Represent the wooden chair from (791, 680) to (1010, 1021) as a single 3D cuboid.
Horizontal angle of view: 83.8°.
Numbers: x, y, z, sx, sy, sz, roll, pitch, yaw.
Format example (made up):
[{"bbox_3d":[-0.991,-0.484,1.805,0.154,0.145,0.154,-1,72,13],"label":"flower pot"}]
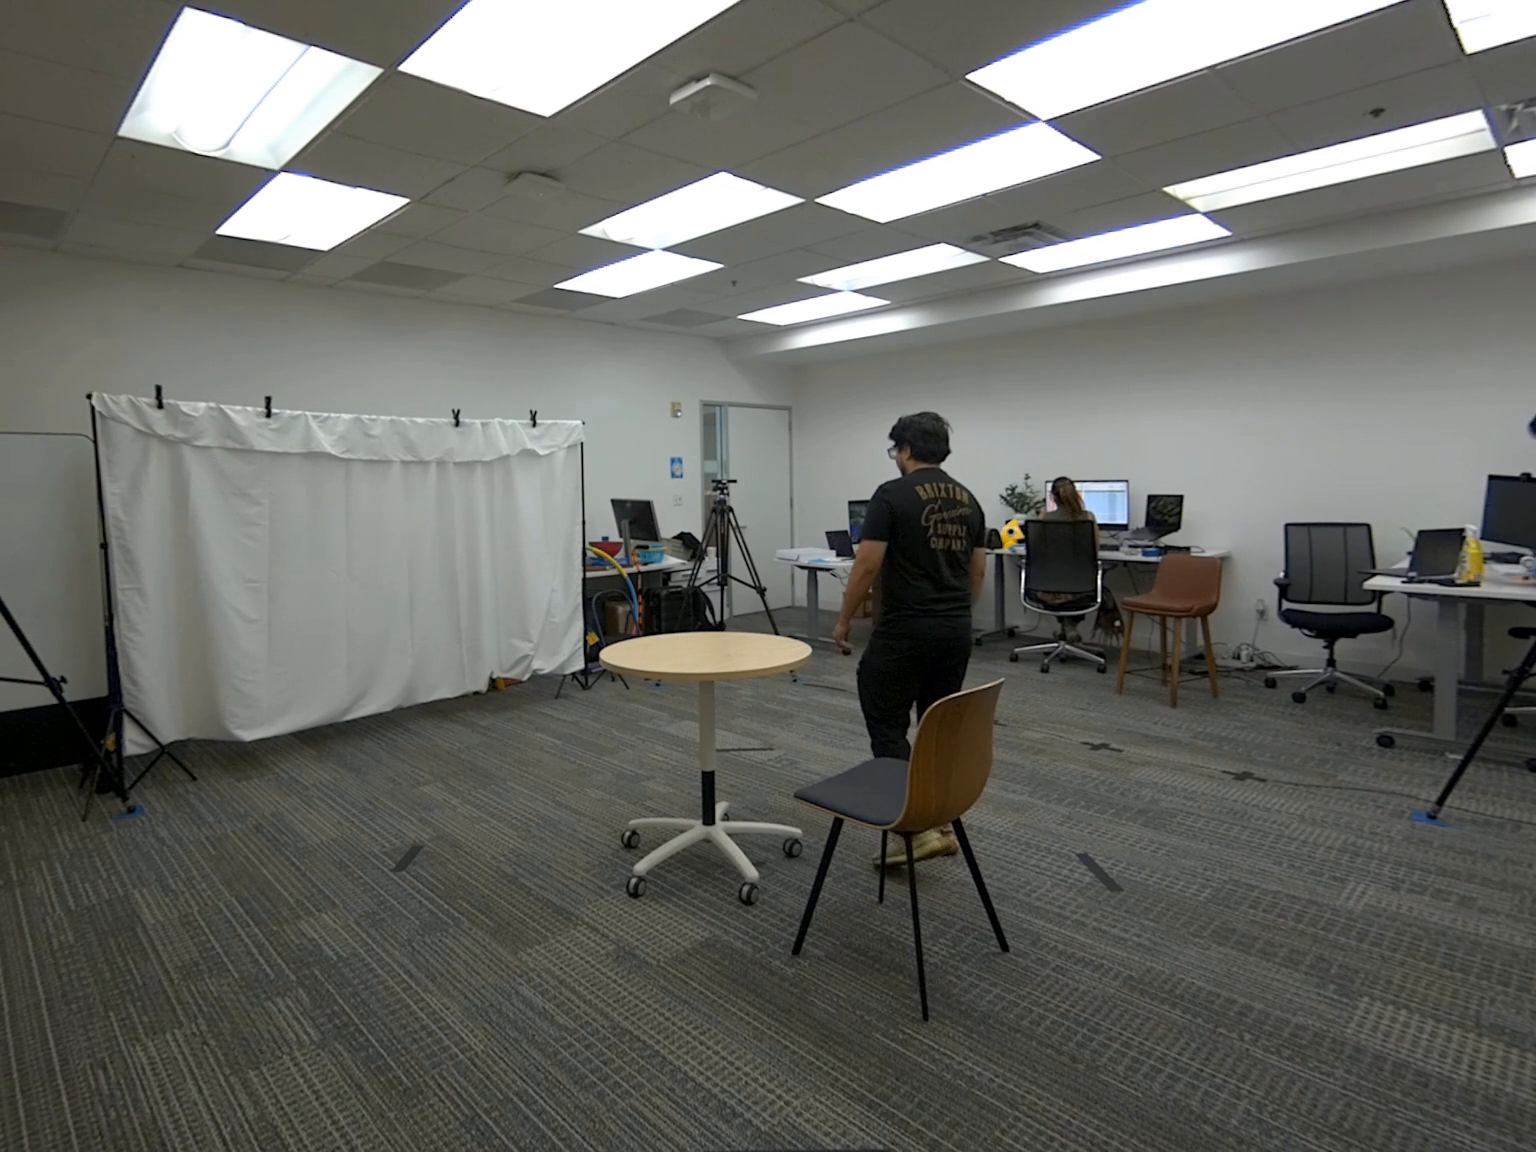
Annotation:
[{"bbox_3d":[0.377,0.684,2.479,0.540,0.872,0.466,9,10,43],"label":"wooden chair"}]
